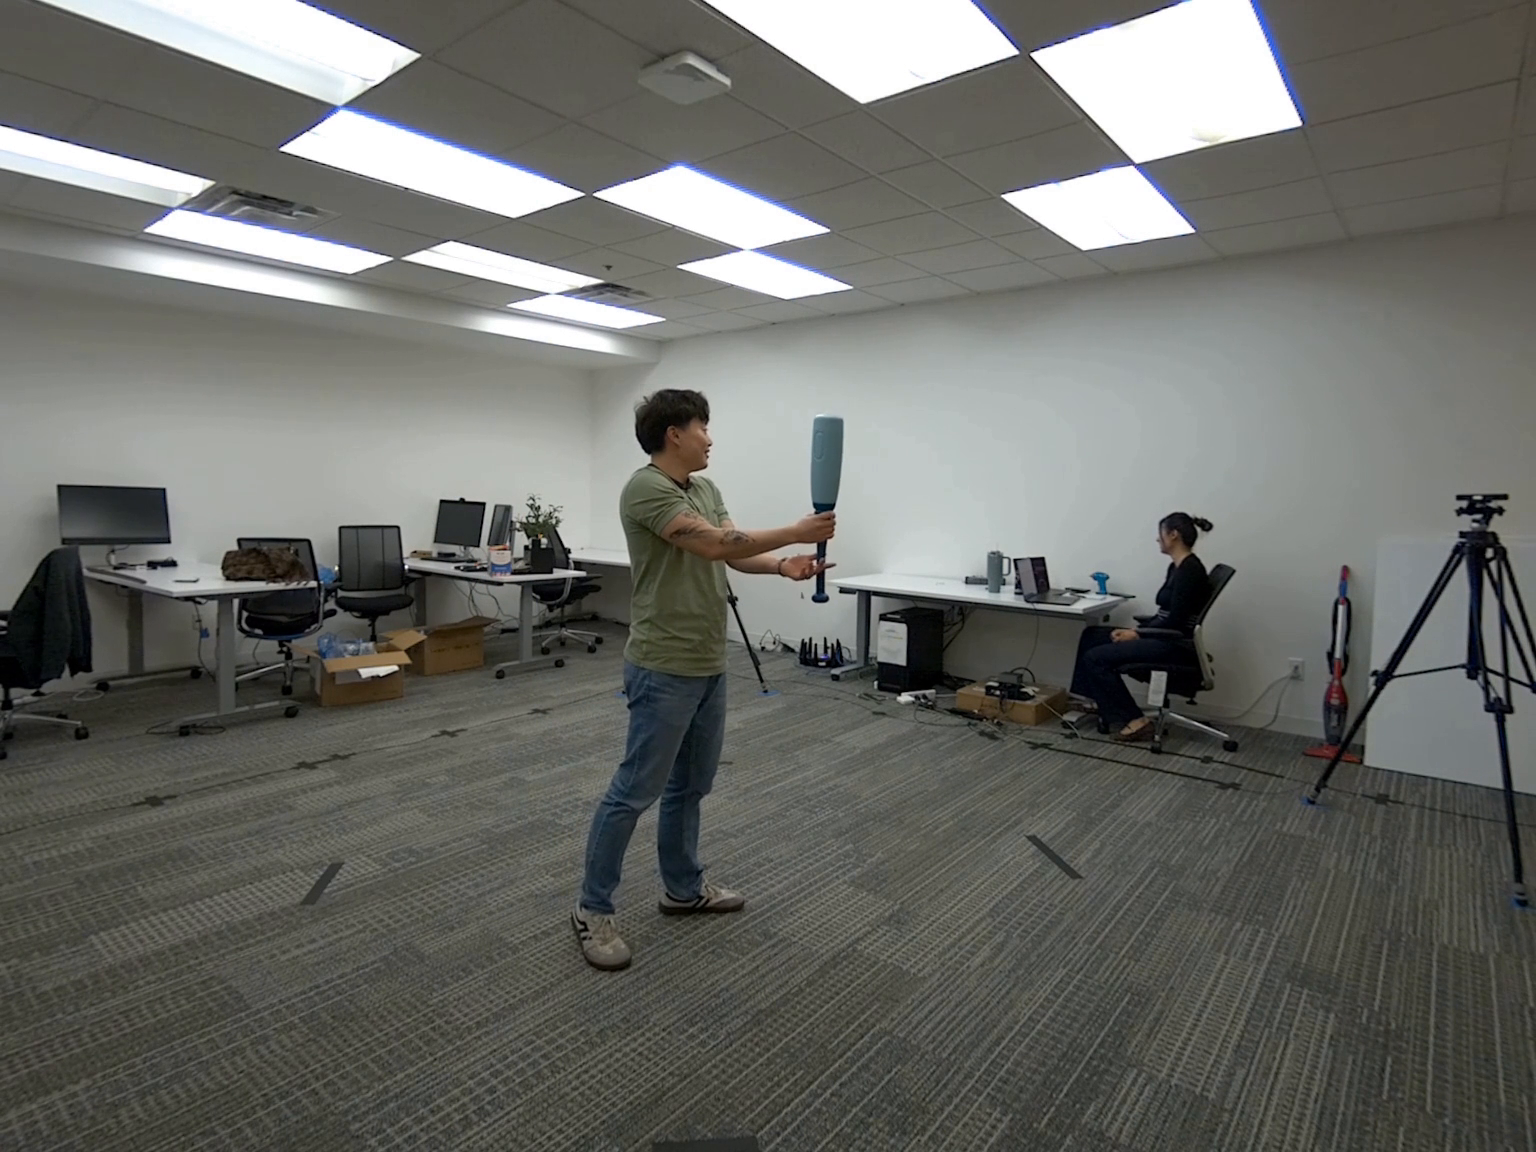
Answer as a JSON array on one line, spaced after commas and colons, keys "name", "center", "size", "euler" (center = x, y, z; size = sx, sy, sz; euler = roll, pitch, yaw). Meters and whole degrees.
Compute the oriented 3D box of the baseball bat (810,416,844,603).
[{"name": "baseball bat", "center": [0.153, -0.189, 2.450], "size": [0.089, 0.540, 0.090], "euler": [2, 6, -2]}]
